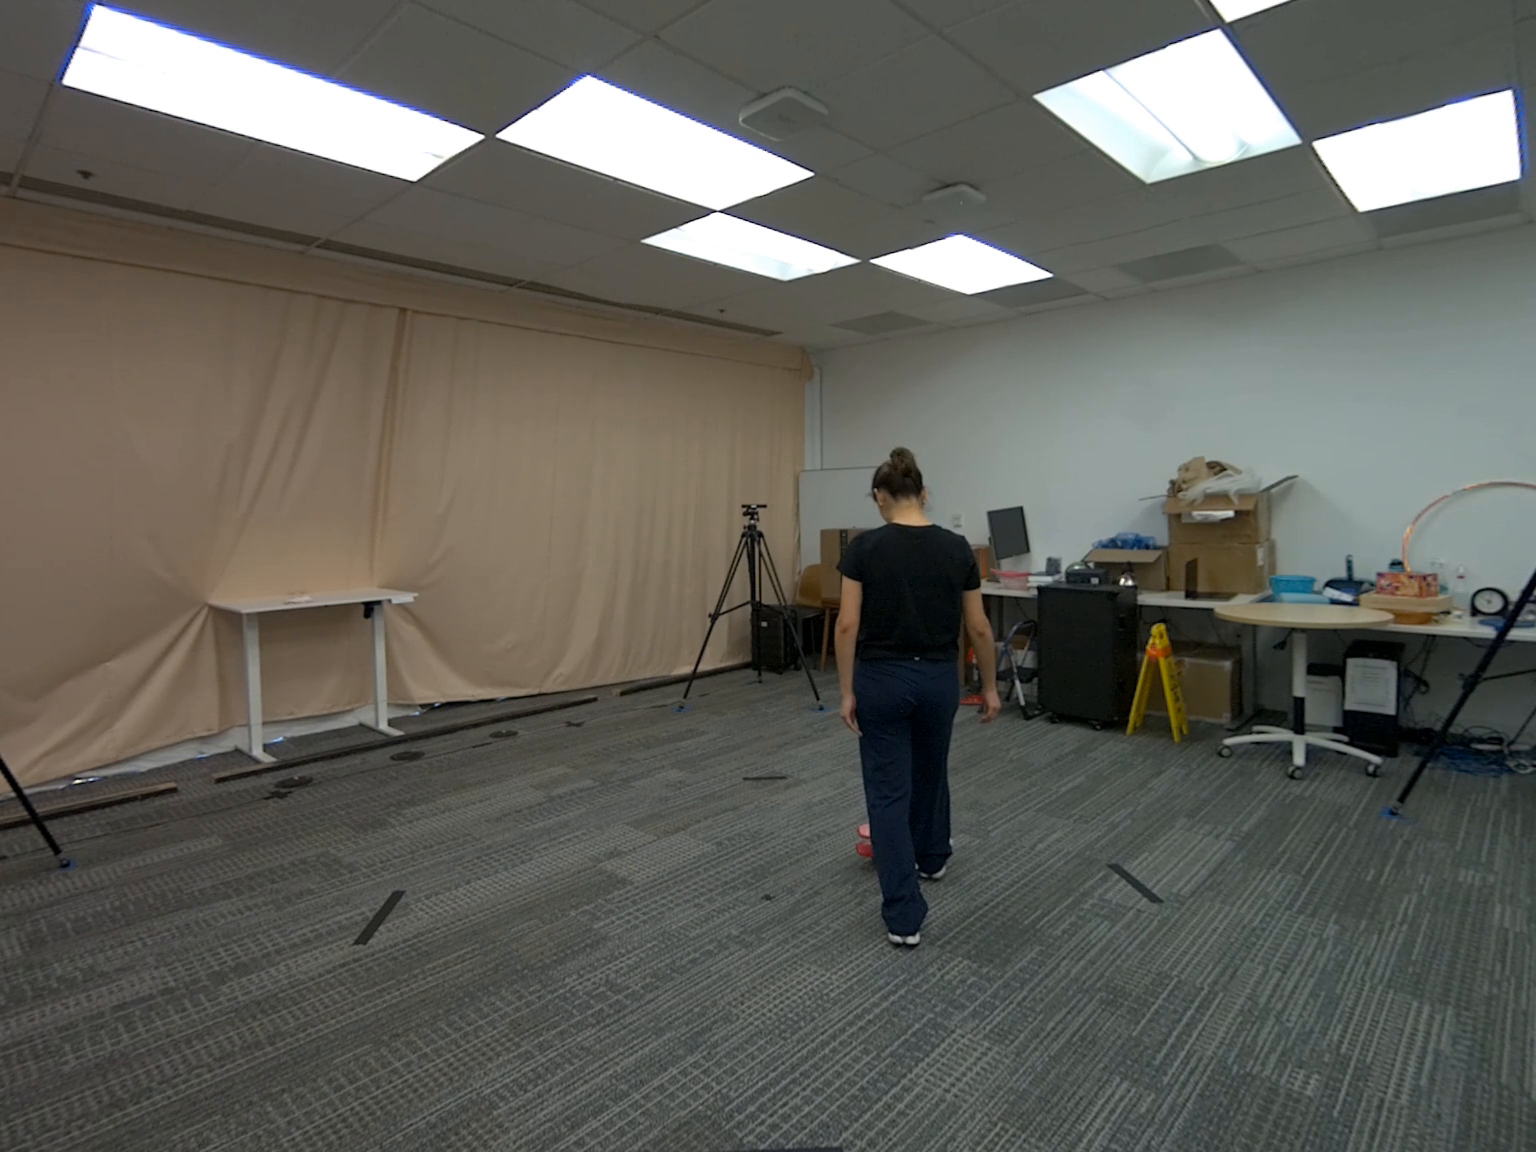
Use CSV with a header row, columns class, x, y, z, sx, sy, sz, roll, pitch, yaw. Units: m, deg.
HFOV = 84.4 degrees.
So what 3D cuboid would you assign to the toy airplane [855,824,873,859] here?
class,x,y,z,sx,sy,sz,roll,pitch,yaw
toy airplane,0.514,1.039,3.192,0.244,0.156,0.267,-3,6,-36
